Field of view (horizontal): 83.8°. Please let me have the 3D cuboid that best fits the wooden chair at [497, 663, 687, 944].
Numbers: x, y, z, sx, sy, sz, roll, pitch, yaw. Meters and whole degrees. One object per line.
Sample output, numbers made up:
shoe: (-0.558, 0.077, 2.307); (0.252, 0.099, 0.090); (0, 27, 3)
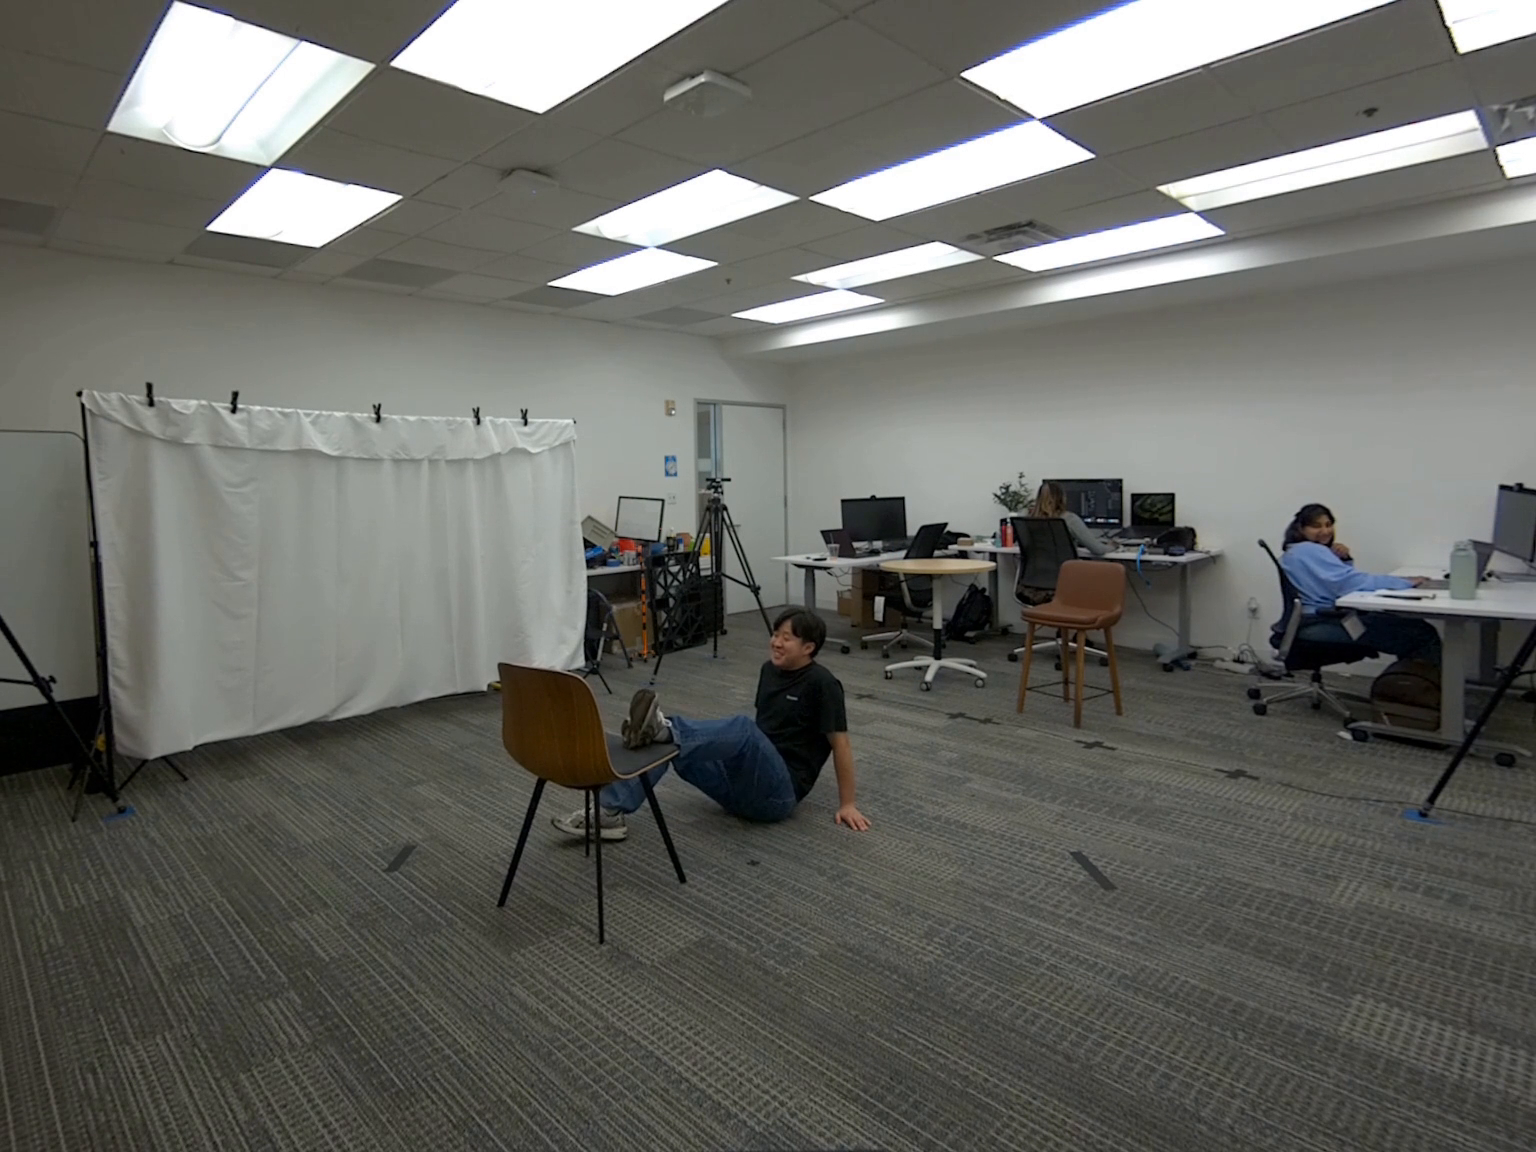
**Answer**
wooden chair: (-0.586, 0.654, 2.860); (0.491, 0.871, 0.513); (2, 10, 31)
